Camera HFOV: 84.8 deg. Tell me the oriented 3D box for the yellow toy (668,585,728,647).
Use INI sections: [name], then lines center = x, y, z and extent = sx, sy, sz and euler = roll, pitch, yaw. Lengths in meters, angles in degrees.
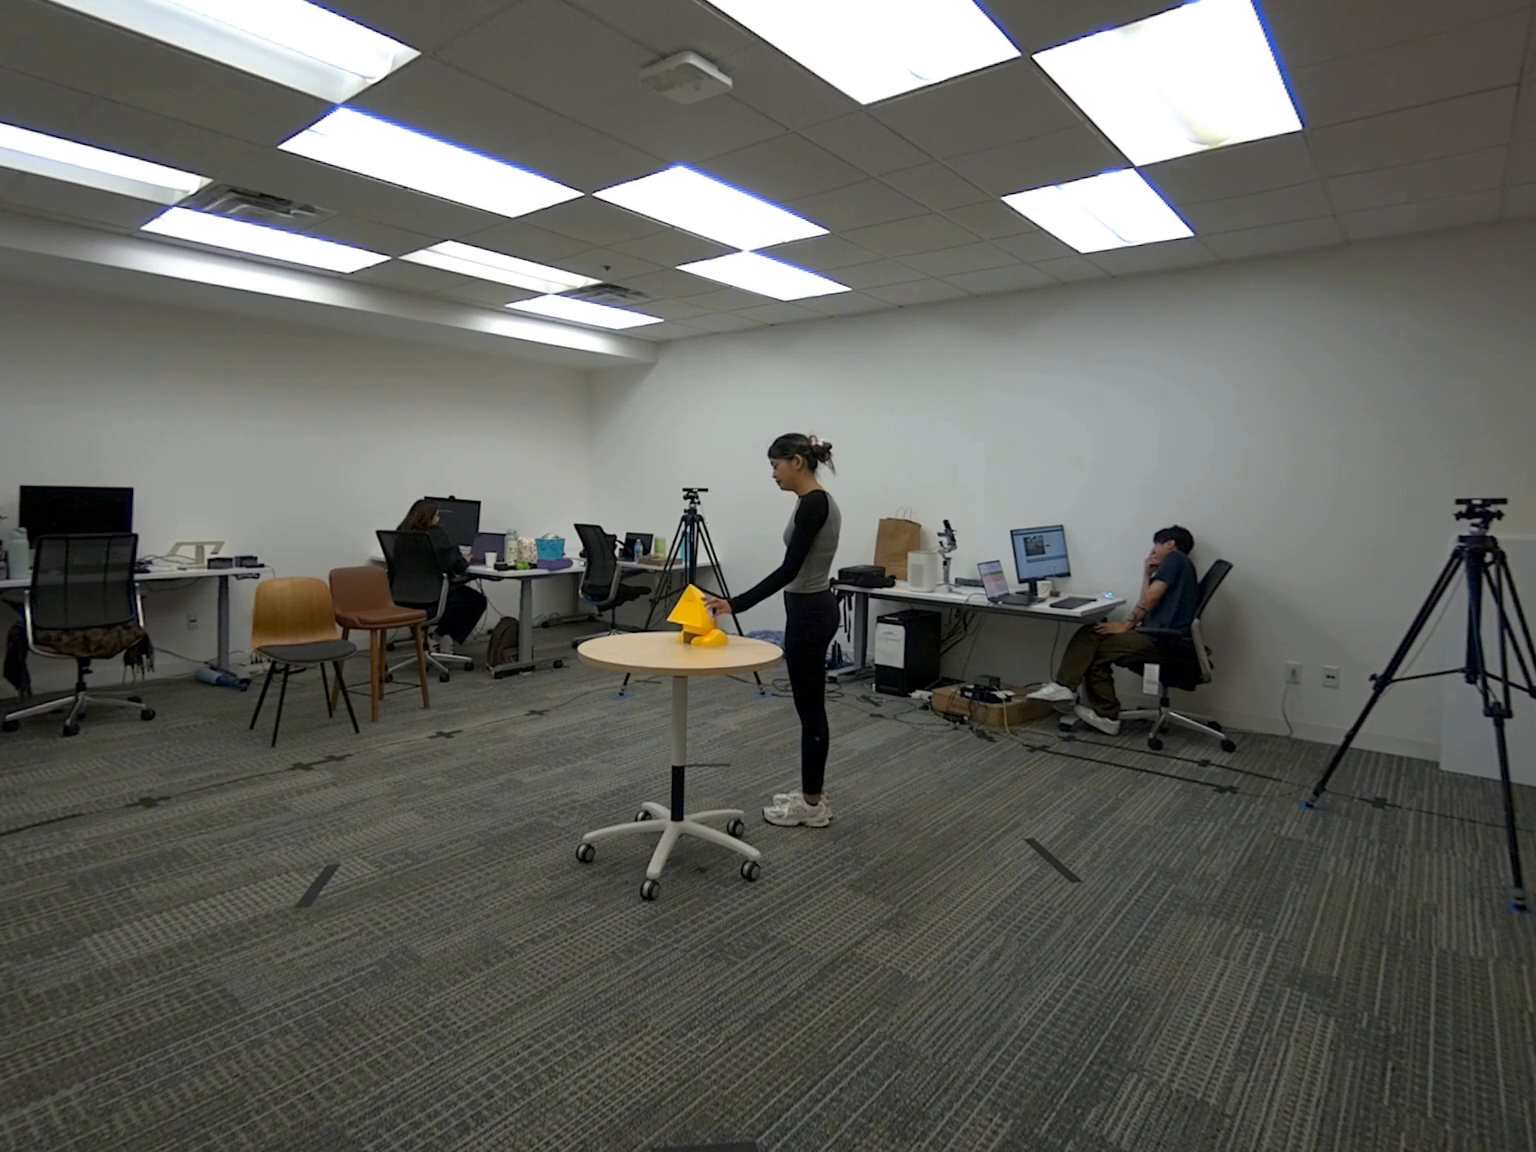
[yellow toy]
center = -0.273, 0.143, 3.341
extent = 0.187, 0.230, 0.212
euler = -1, 4, -42
